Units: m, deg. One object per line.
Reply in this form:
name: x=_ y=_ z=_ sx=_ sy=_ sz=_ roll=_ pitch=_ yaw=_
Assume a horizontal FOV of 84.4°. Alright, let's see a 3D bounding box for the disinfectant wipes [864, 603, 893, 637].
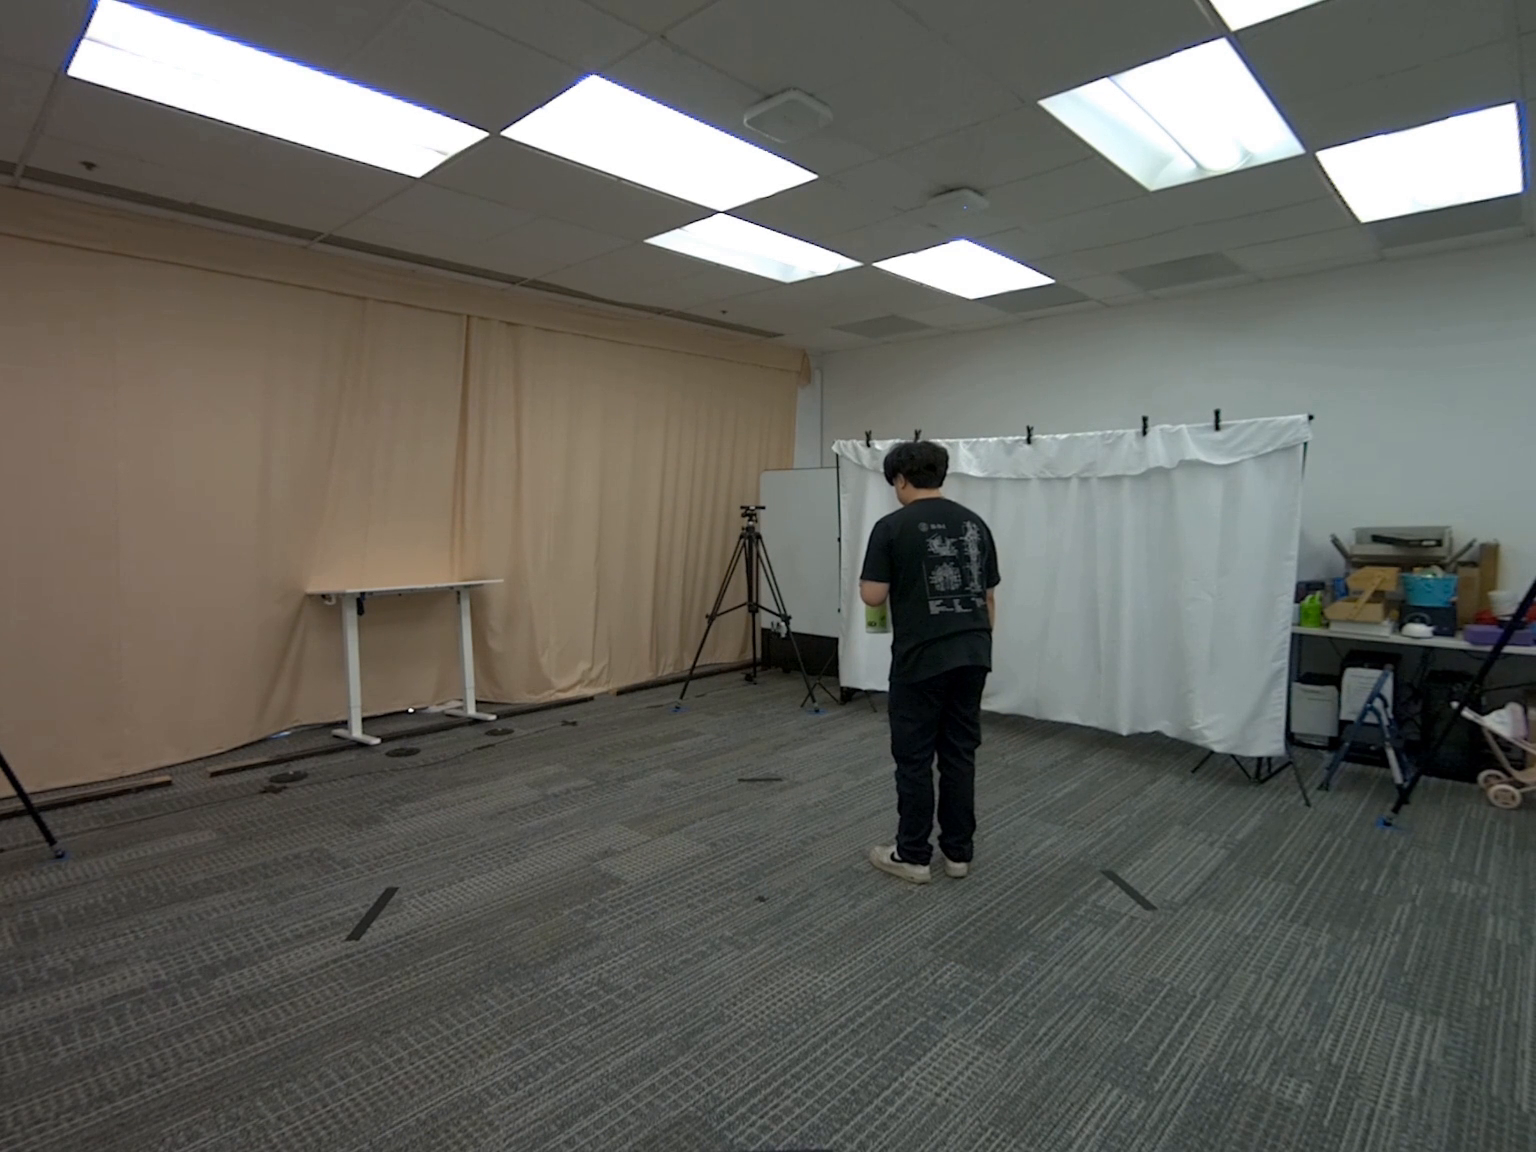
disinfectant wipes: x=0.465 y=0.133 z=3.485 sx=0.118 sy=0.217 sz=0.118 roll=0 pitch=1 yaw=-2
